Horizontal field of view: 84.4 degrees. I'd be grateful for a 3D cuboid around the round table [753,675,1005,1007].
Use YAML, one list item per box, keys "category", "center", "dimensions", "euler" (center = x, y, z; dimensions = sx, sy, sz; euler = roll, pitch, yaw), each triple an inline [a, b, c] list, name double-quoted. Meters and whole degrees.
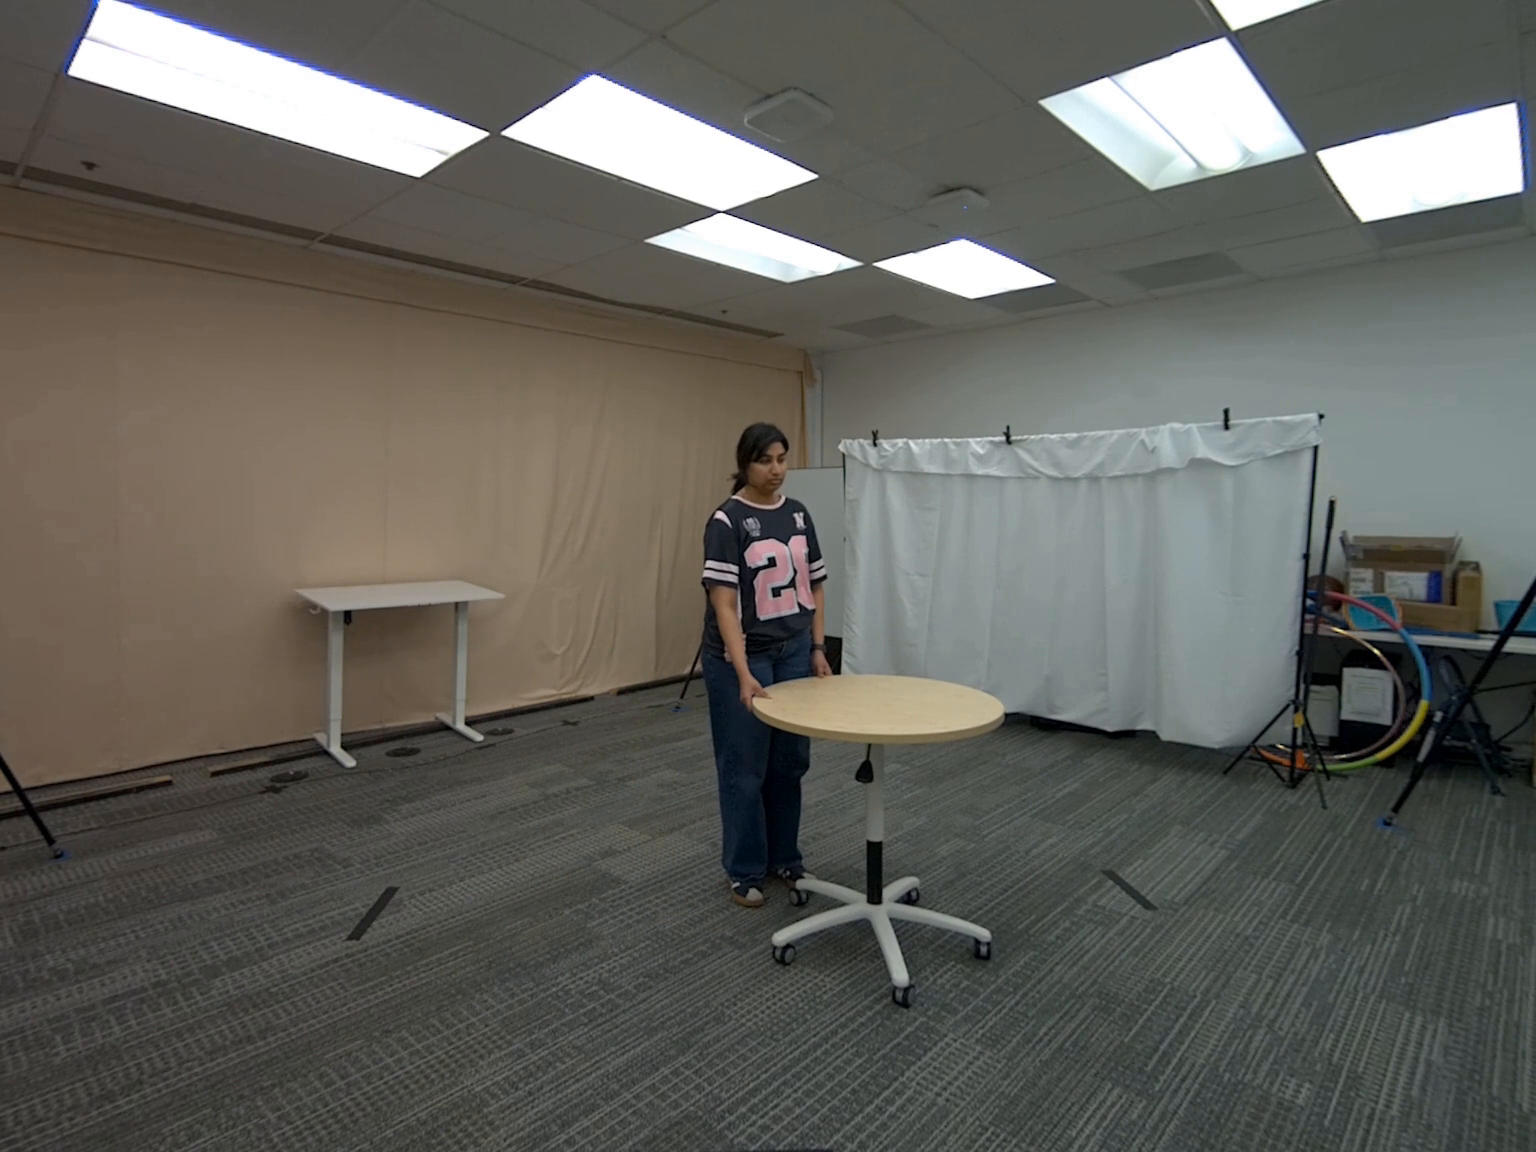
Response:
- category: "round table"
  center: [0.337, 0.776, 2.657]
  dimensions: [0.784, 0.784, 0.788]
  euler: [0, 4, -2]
